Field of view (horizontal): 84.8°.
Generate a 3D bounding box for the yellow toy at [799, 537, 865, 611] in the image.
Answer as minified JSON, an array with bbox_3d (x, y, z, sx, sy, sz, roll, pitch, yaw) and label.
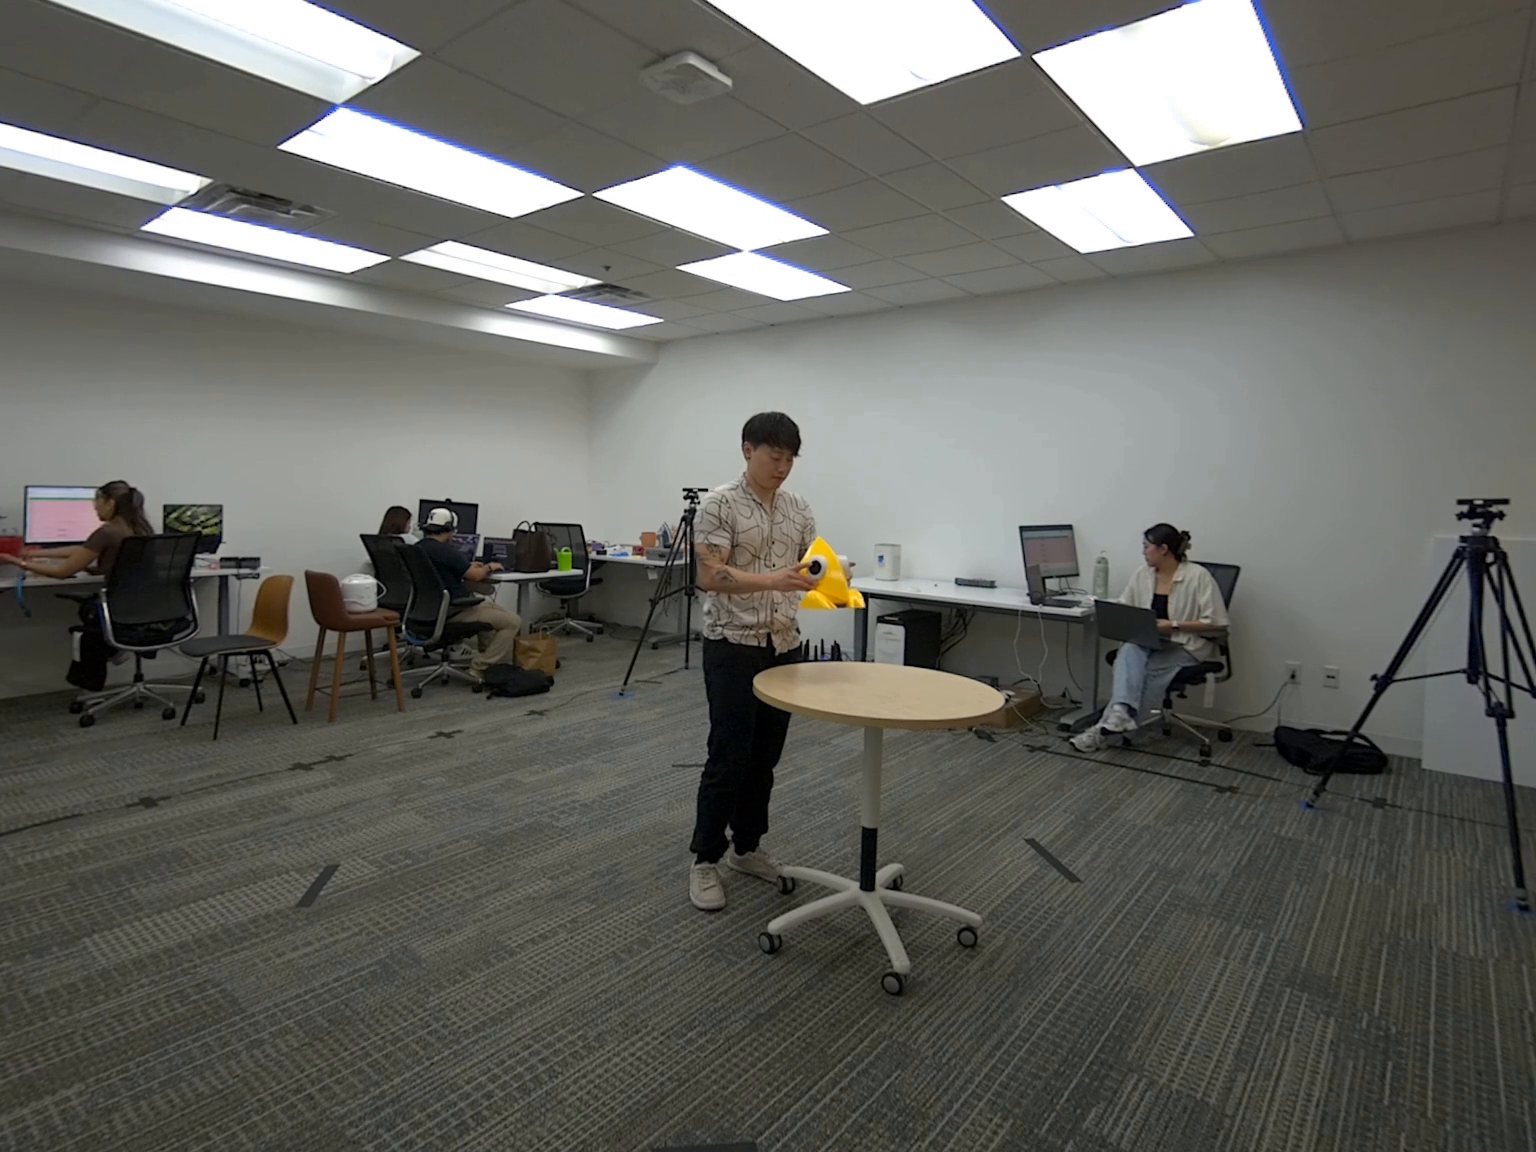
[{"bbox_3d":[0.190,-0.016,2.728,0.199,0.231,0.198,0,-1,-29],"label":"yellow toy"}]
